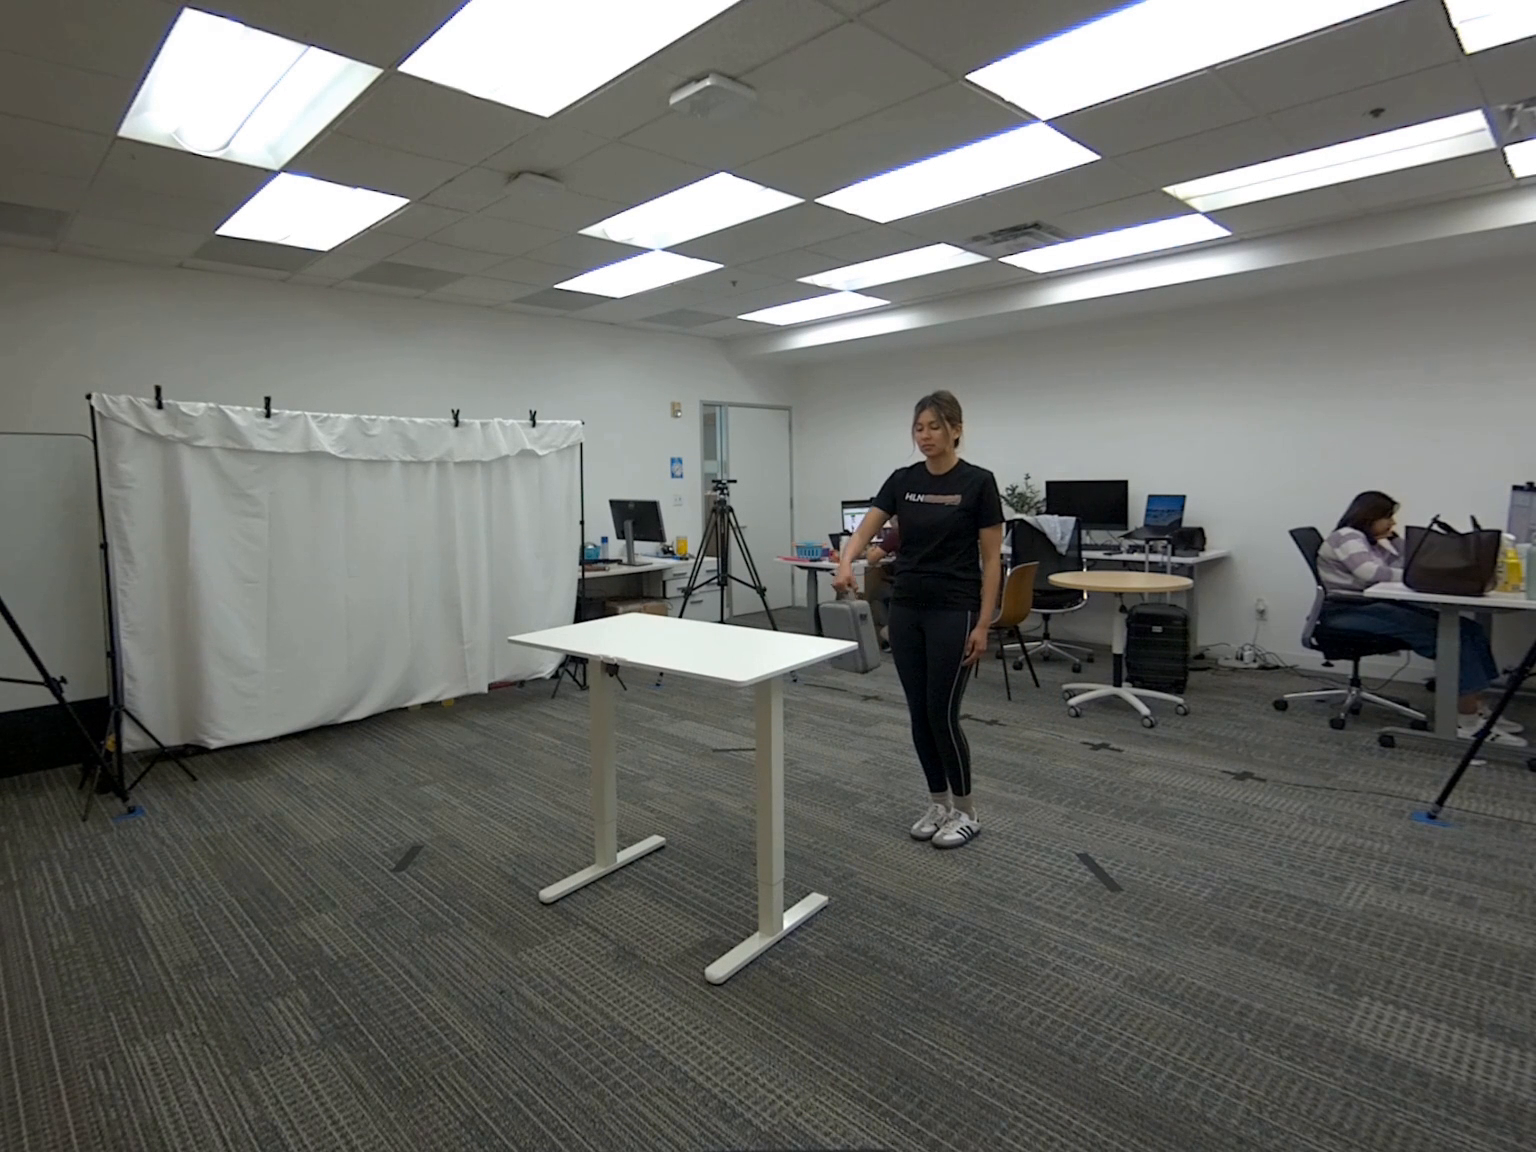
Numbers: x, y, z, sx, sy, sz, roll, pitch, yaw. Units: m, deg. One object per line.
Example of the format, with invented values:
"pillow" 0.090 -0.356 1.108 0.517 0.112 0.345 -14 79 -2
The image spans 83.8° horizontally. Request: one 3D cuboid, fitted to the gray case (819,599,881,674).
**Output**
"gray case" 0.295 0.210 3.103 0.103 0.260 0.260 -10 2 -16
